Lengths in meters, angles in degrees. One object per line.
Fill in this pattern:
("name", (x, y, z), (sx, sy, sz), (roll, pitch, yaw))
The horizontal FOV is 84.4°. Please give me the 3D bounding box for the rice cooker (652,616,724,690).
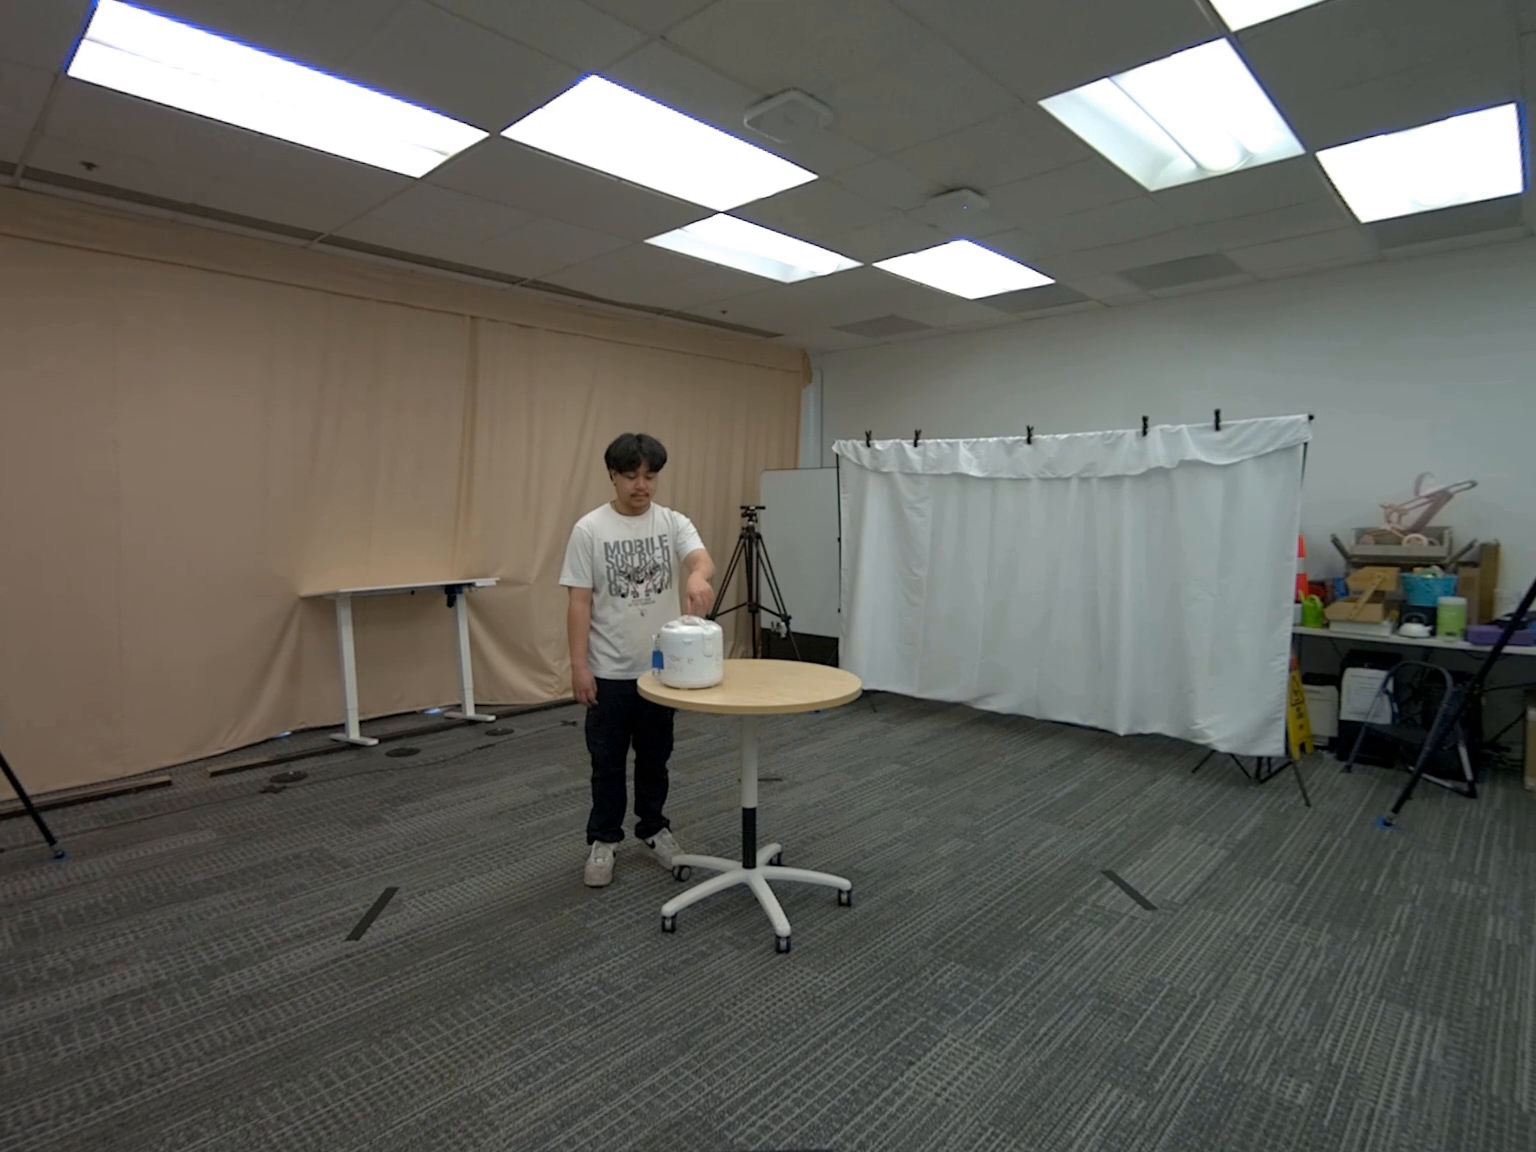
("rice cooker", (-0.252, 0.246, 2.805), (0.211, 0.232, 0.228), (-5, 6, -36))
